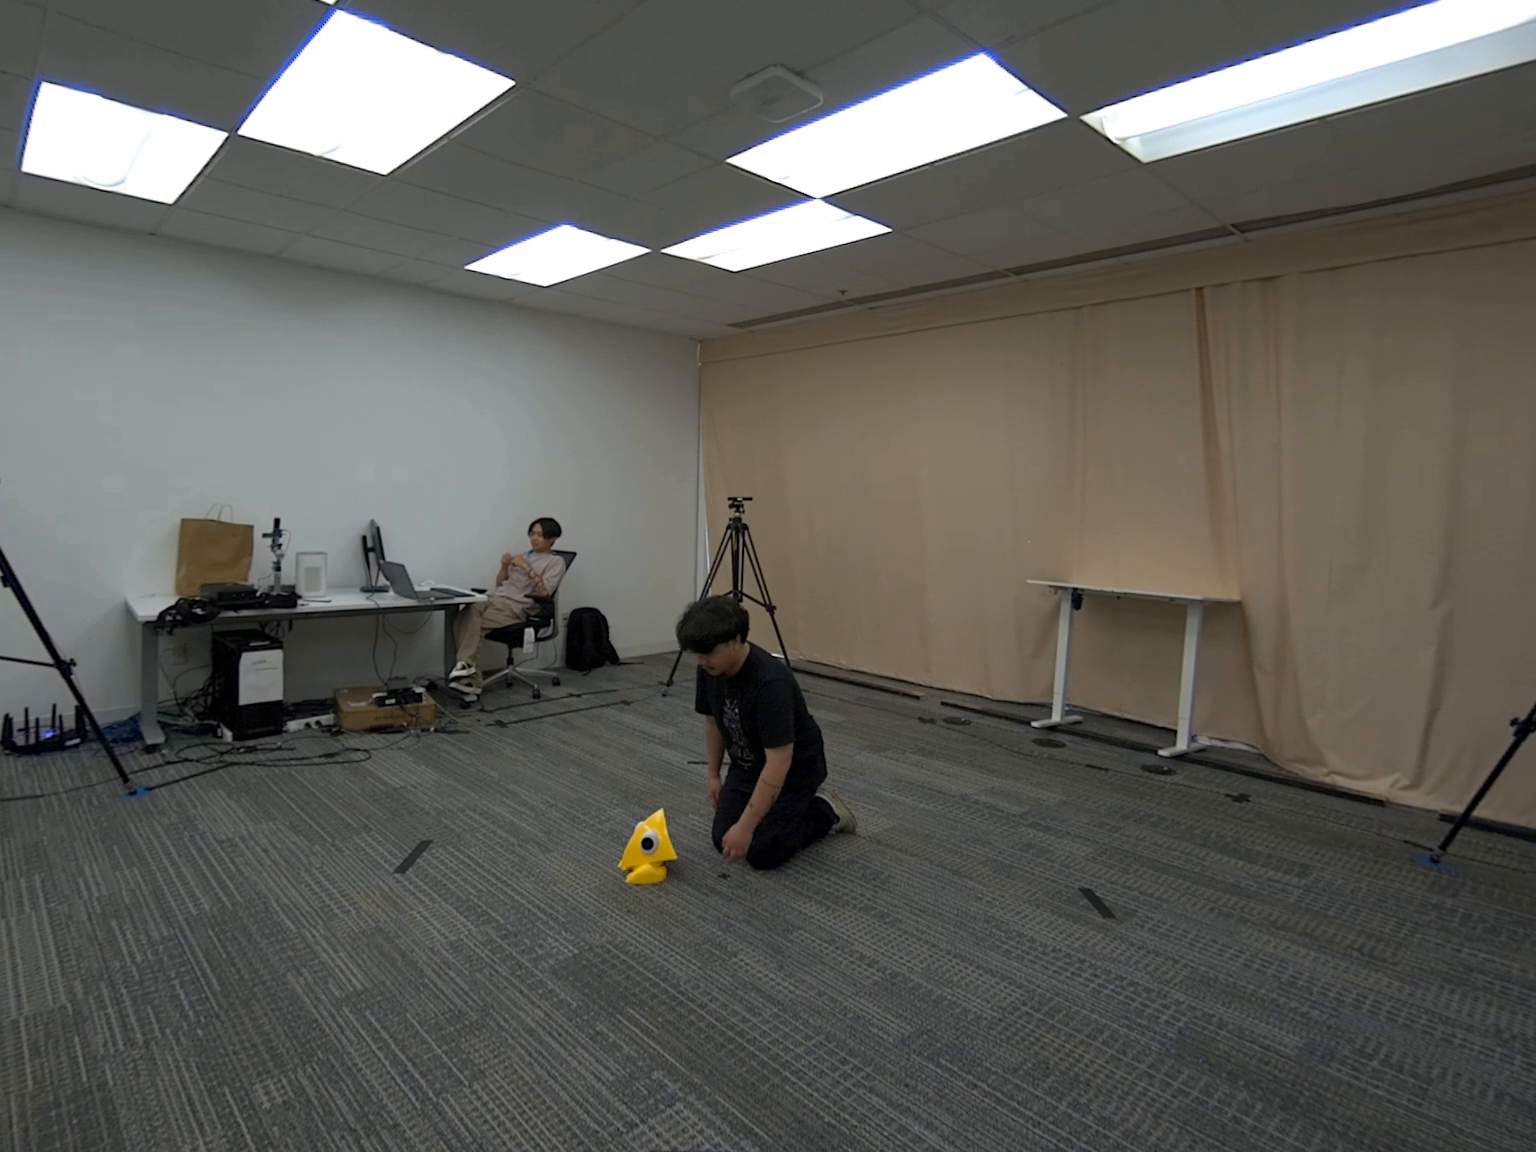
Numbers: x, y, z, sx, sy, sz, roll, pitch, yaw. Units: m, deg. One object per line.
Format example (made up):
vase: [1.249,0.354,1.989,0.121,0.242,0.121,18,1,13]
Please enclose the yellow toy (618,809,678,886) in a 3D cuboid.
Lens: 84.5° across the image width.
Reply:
yellow toy: [-0.457,0.986,3.126,0.190,0.230,0.208,-1,5,-20]
